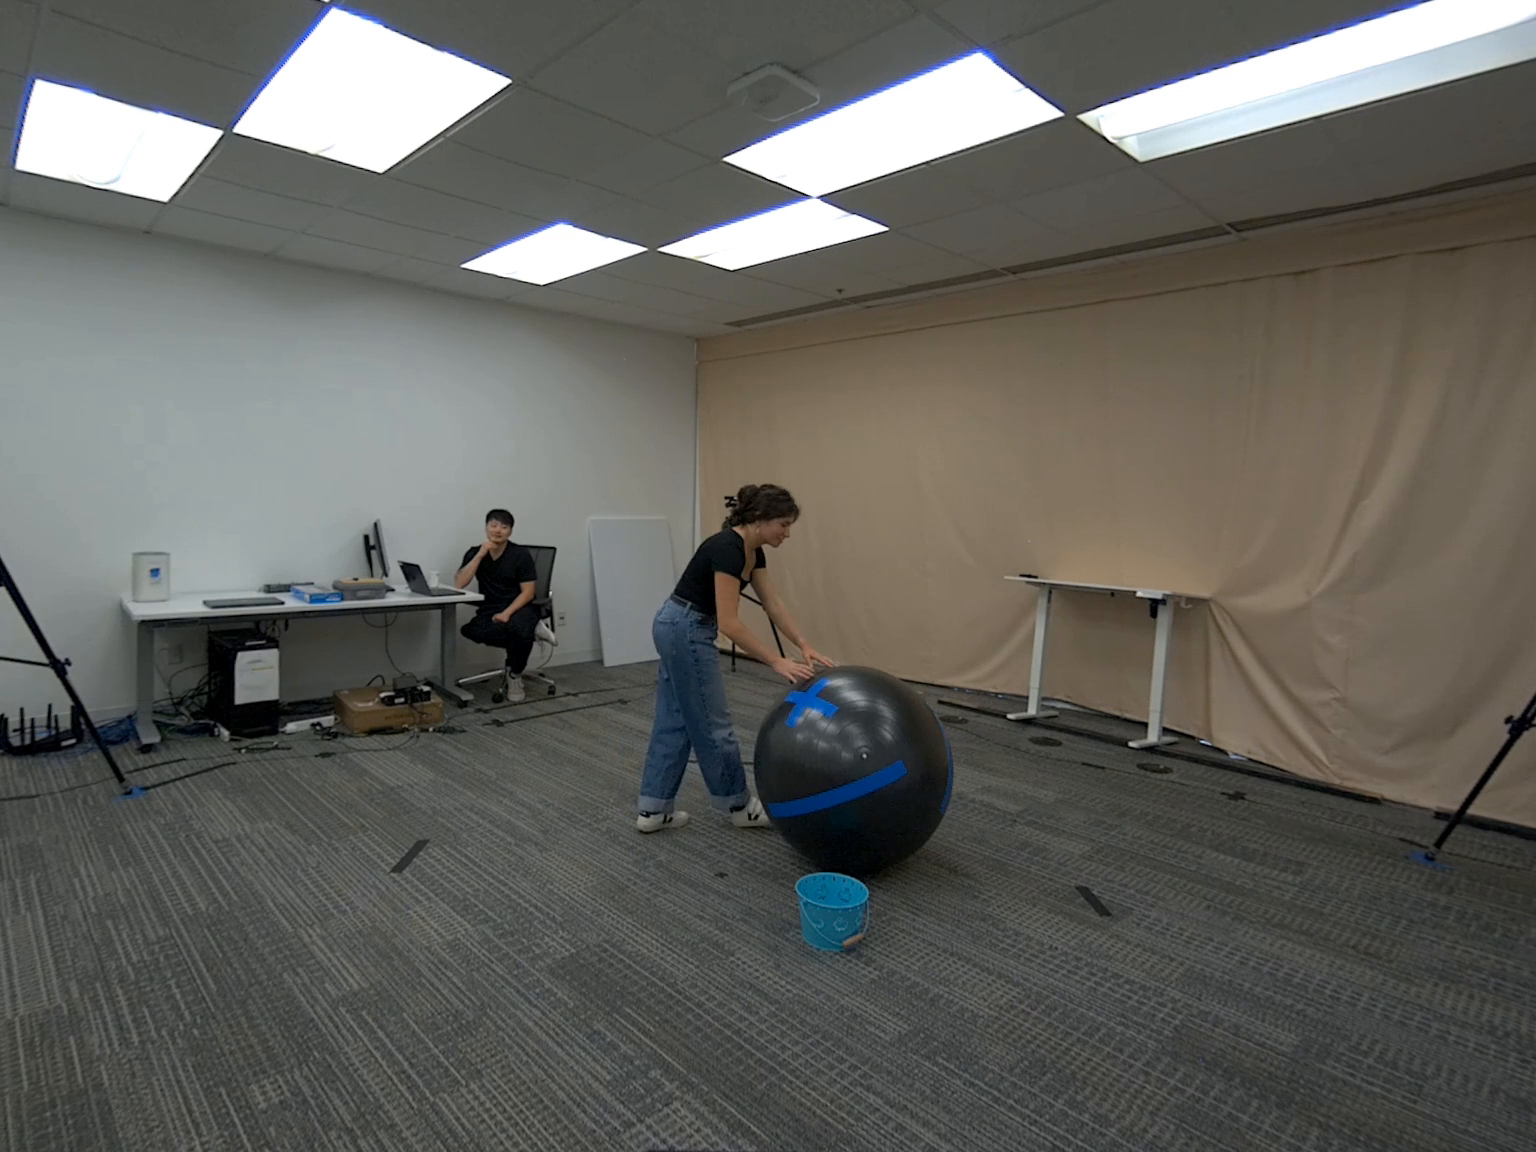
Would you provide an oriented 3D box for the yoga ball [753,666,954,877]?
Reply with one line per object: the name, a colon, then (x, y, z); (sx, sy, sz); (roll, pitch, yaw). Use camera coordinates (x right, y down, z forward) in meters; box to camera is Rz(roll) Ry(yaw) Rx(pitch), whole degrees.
yoga ball: (0.317, 0.734, 3.232); (0.757, 0.756, 0.761); (1, 4, -1)
